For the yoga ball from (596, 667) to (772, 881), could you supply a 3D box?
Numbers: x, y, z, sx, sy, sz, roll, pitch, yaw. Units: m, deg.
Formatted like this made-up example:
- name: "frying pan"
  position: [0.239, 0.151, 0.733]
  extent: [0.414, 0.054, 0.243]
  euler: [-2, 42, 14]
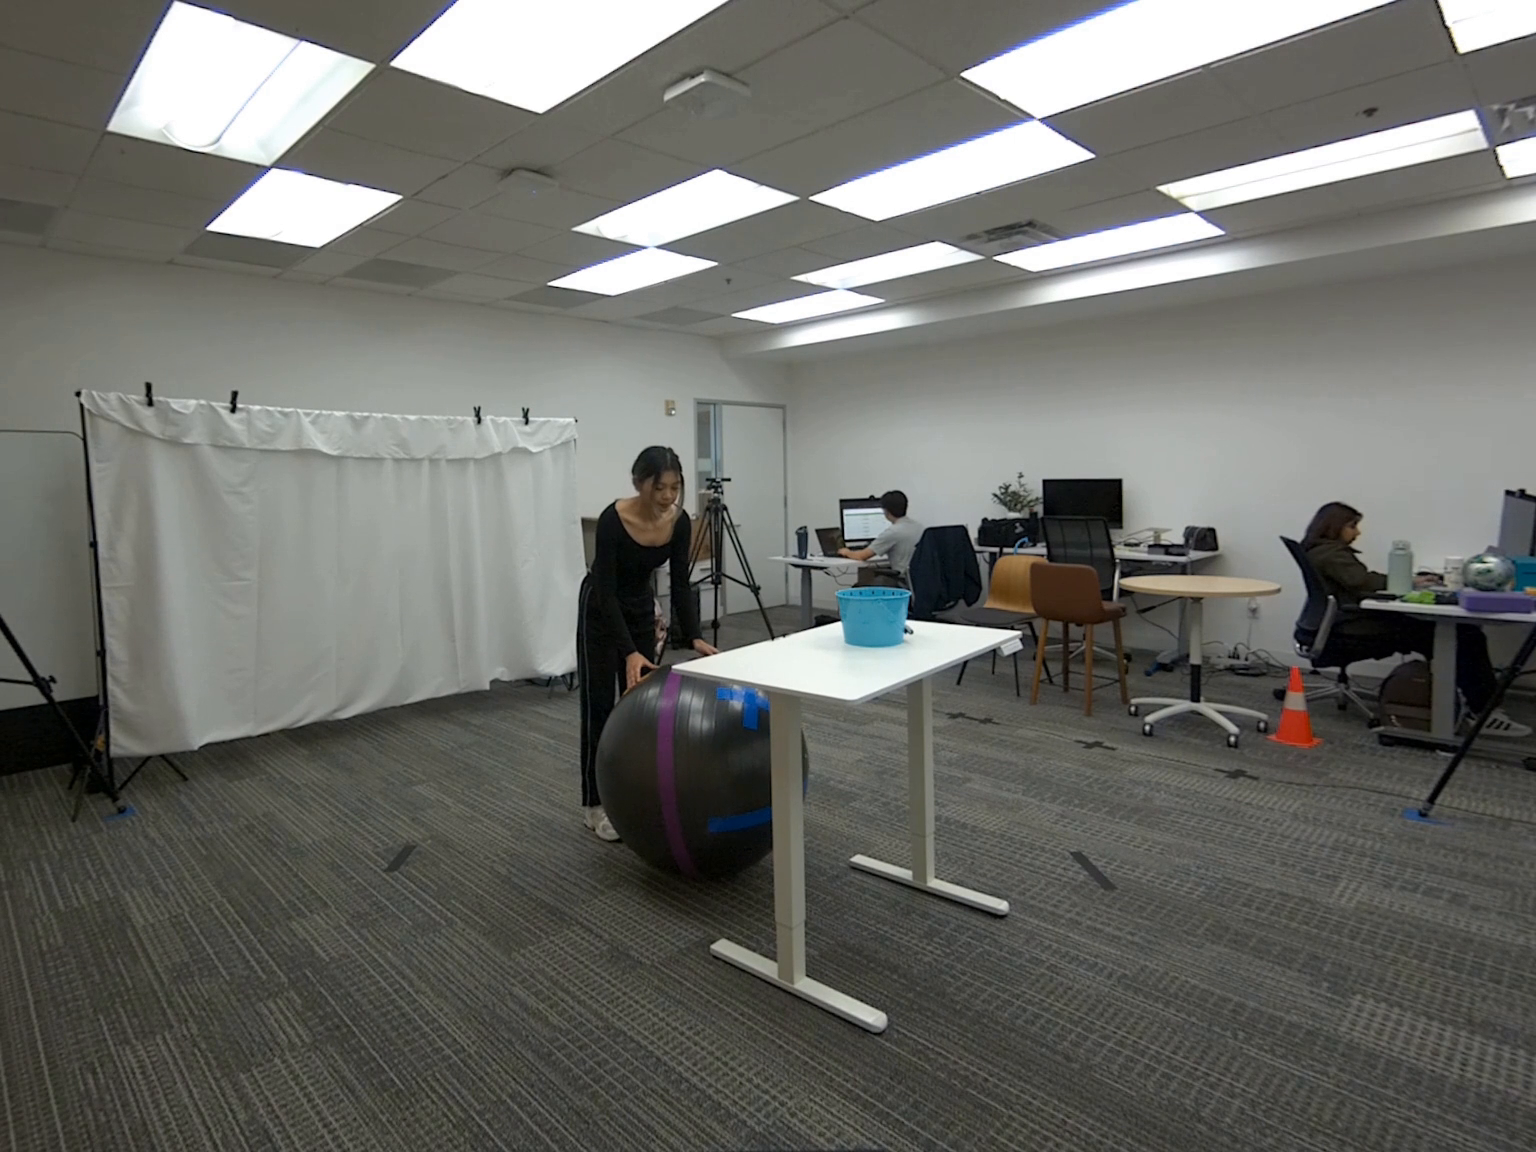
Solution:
- name: "yoga ball"
  position: [-0.235, 0.680, 3.055]
  extent: [0.757, 0.755, 0.762]
  euler: [-1, 5, -2]
